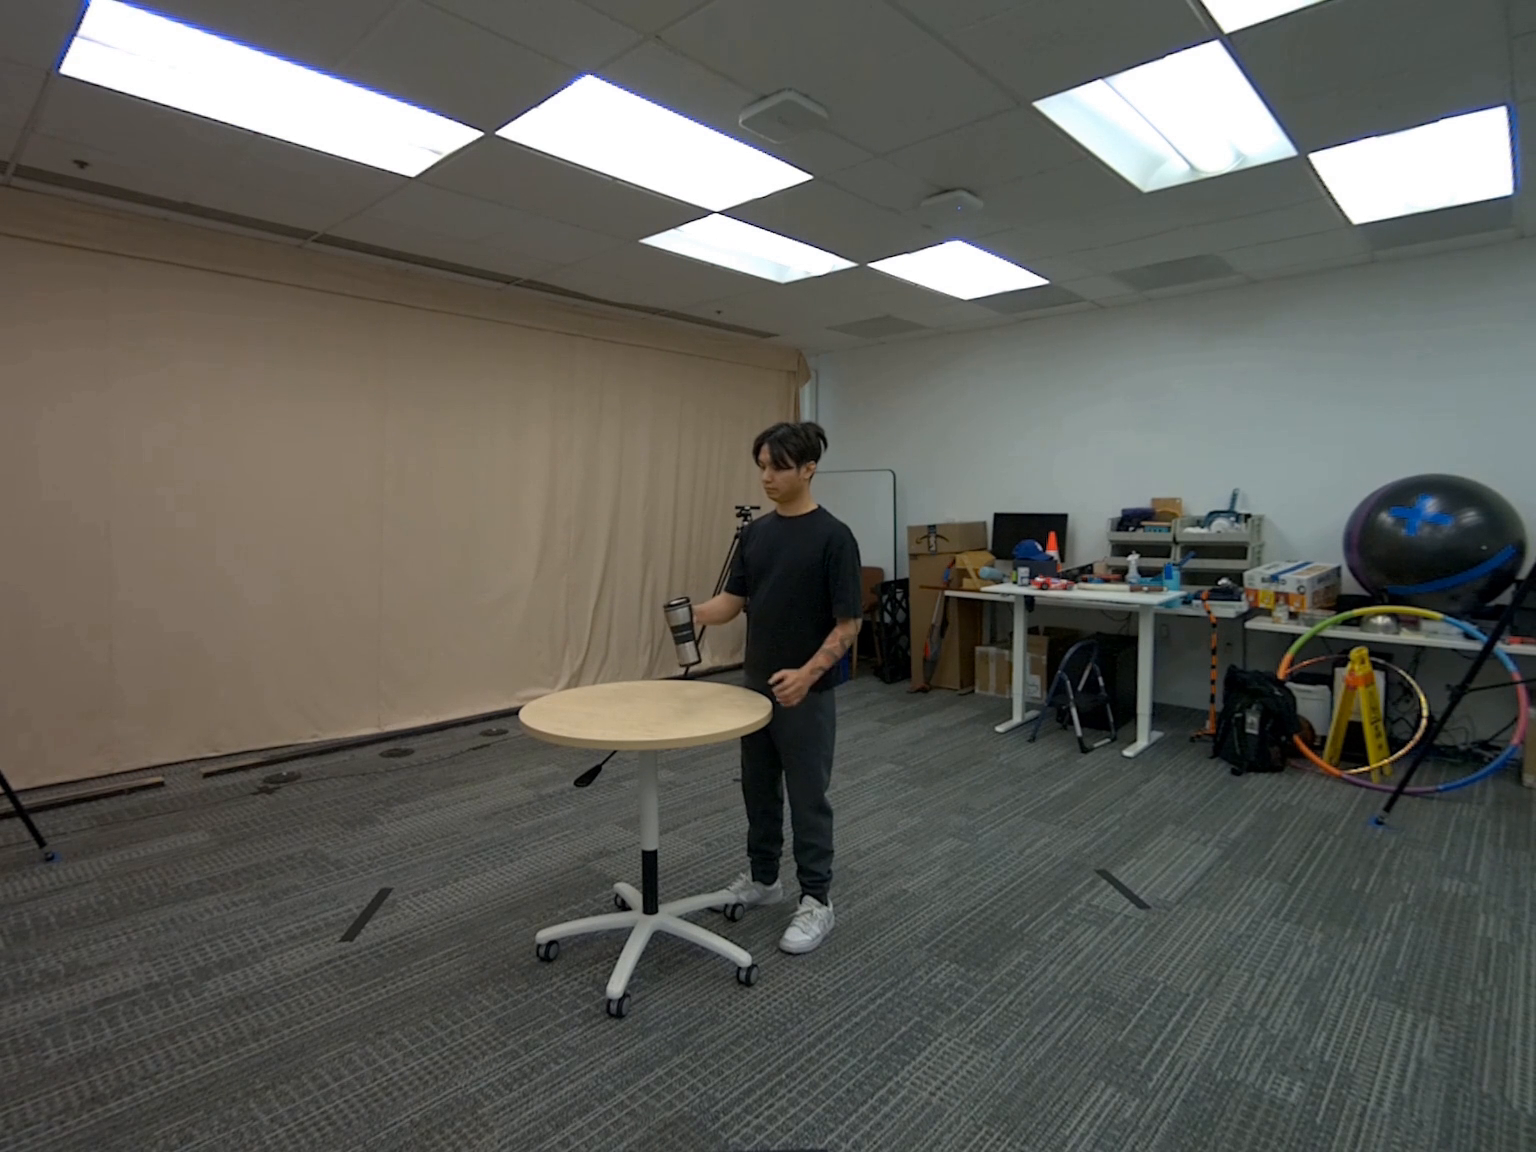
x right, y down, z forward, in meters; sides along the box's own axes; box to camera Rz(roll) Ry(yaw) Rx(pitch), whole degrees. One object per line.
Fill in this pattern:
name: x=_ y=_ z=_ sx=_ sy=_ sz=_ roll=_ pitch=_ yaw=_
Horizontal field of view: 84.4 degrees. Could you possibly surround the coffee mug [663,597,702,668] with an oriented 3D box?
coffee mug: x=-0.236 y=0.175 z=2.589 sx=0.090 sy=0.202 sz=0.119 roll=-15 pitch=5 yaw=41
